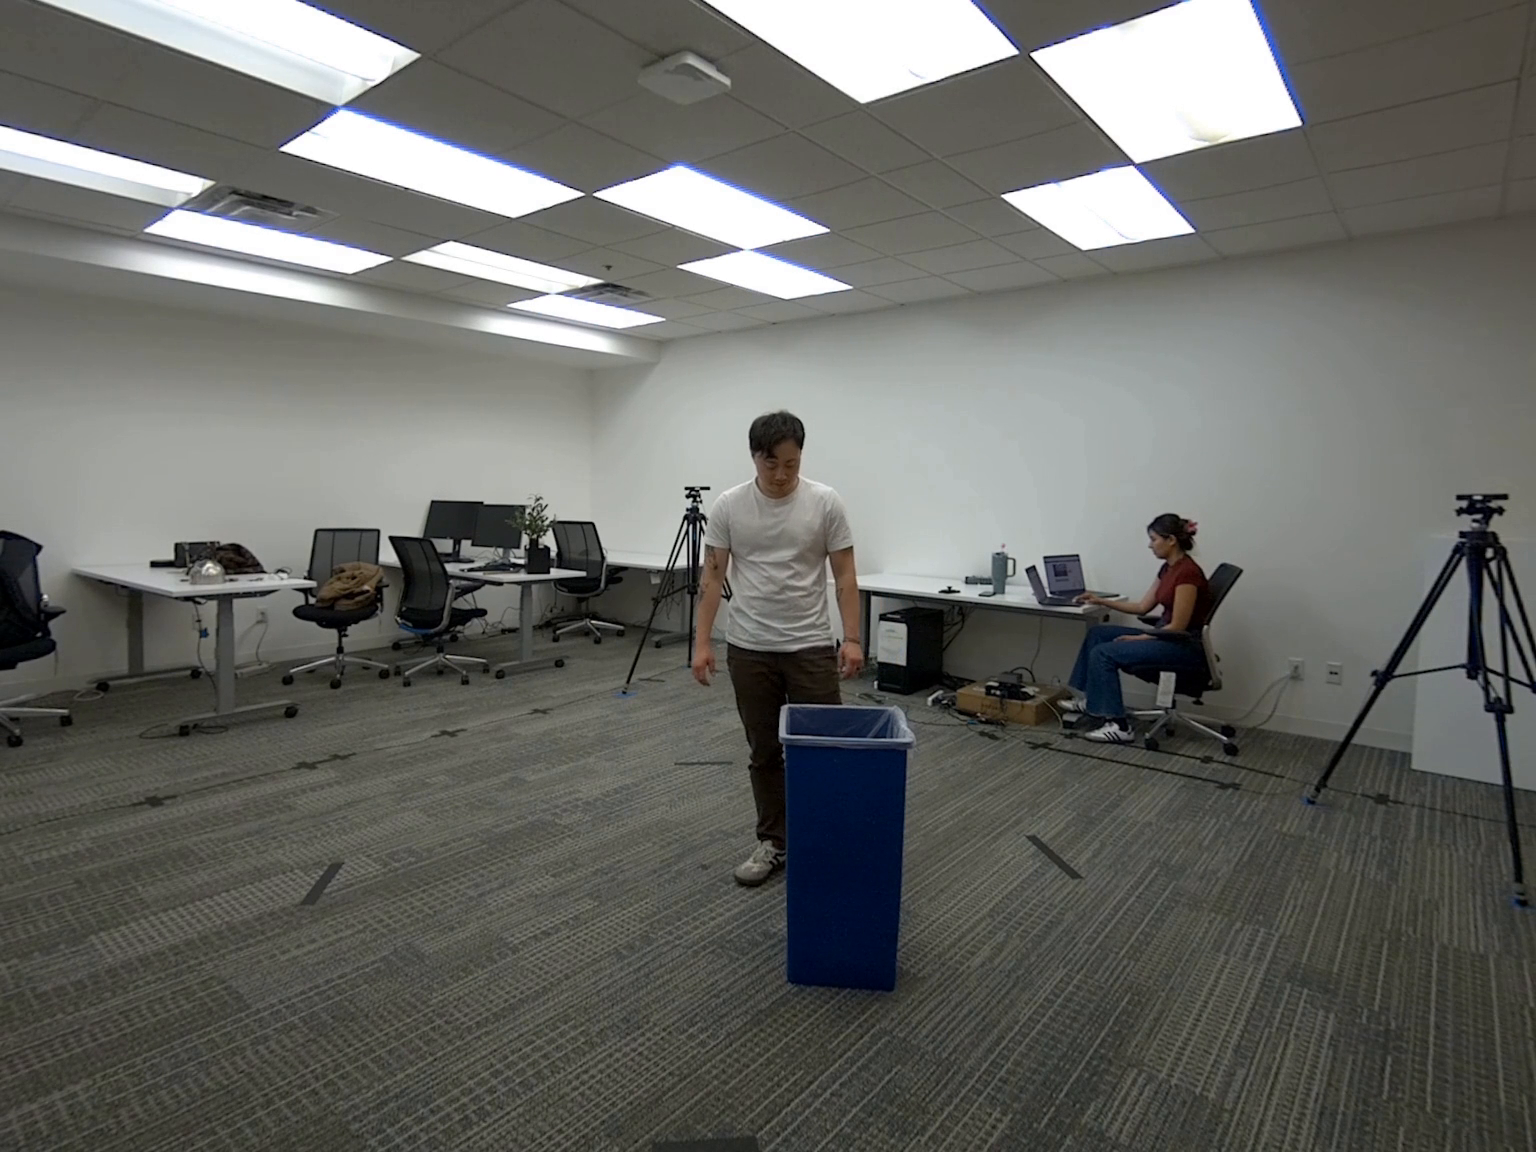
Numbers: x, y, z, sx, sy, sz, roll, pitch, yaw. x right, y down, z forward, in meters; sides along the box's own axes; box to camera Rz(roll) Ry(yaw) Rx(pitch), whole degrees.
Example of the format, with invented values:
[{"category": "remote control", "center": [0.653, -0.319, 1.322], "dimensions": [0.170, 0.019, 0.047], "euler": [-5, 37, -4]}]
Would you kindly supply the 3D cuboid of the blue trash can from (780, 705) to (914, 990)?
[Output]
[{"category": "blue trash can", "center": [0.215, 0.773, 2.516], "dimensions": [0.380, 0.711, 0.374], "euler": [1, 4, 3]}]
